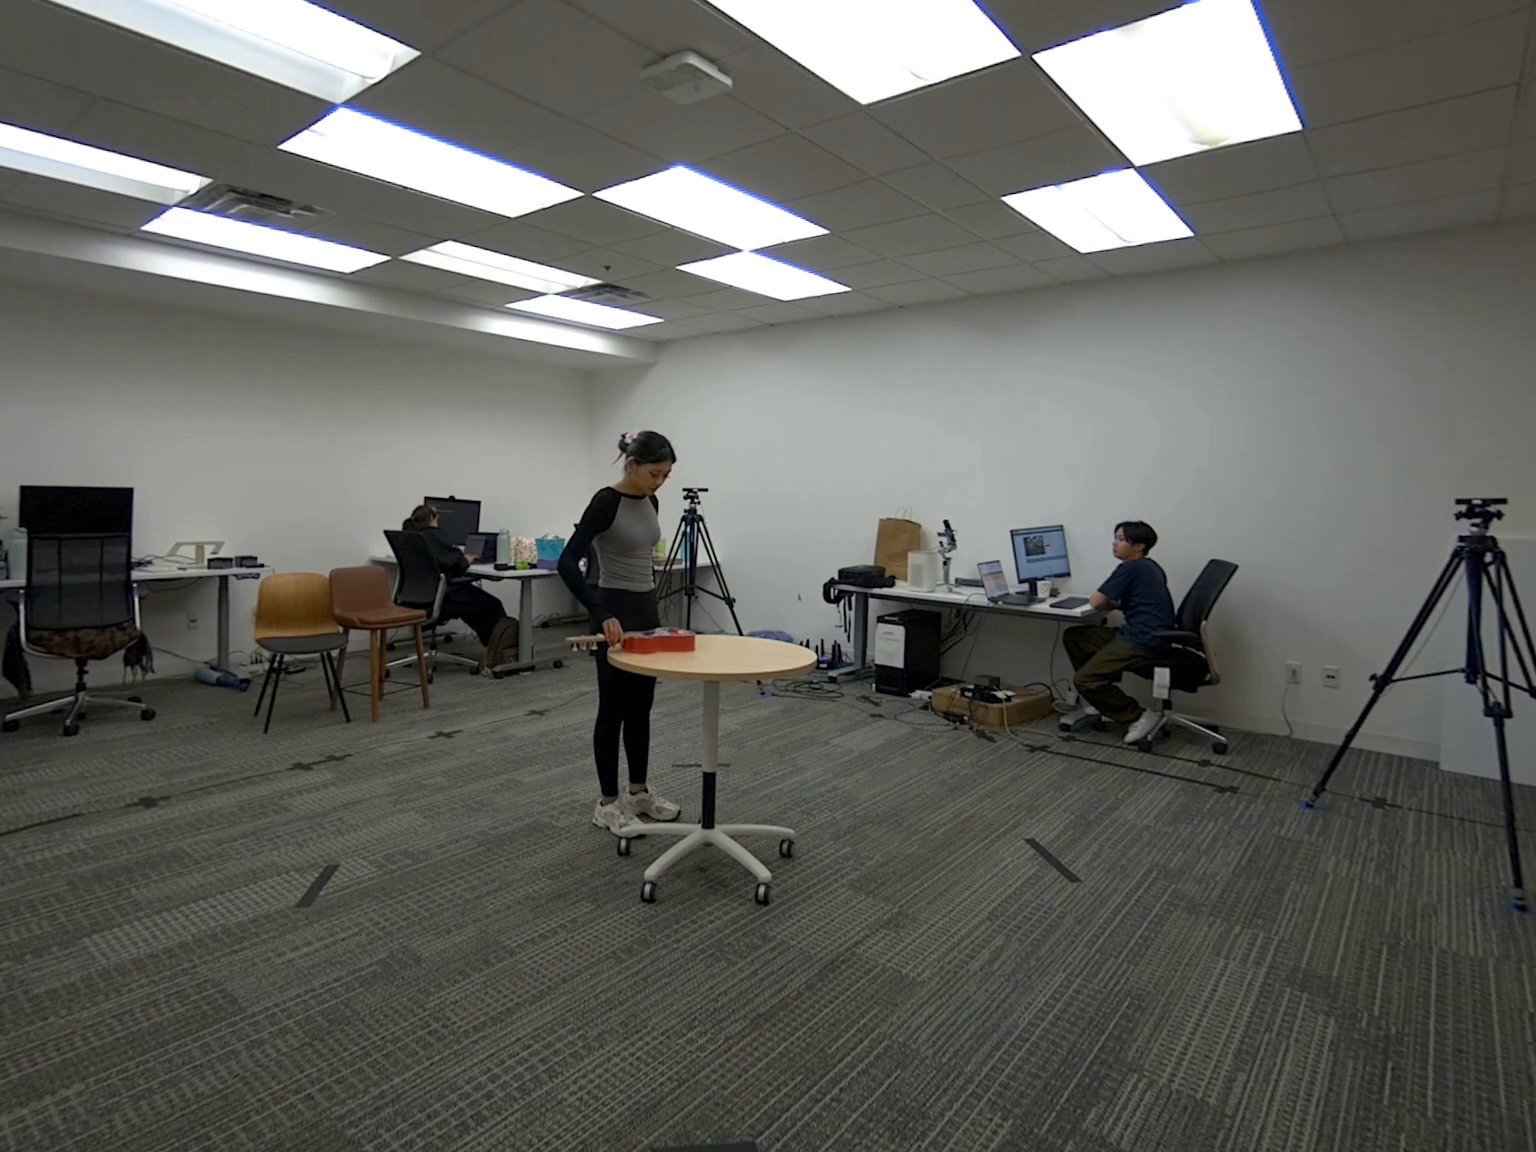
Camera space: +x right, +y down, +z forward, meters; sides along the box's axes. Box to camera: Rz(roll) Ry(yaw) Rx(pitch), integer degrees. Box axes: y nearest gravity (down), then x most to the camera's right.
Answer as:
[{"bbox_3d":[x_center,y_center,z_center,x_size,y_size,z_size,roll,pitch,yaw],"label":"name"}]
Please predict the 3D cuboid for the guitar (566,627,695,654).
[{"bbox_3d":[-0.526,0.237,3.115,0.486,0.070,0.198,-1,5,-26],"label":"guitar"}]
